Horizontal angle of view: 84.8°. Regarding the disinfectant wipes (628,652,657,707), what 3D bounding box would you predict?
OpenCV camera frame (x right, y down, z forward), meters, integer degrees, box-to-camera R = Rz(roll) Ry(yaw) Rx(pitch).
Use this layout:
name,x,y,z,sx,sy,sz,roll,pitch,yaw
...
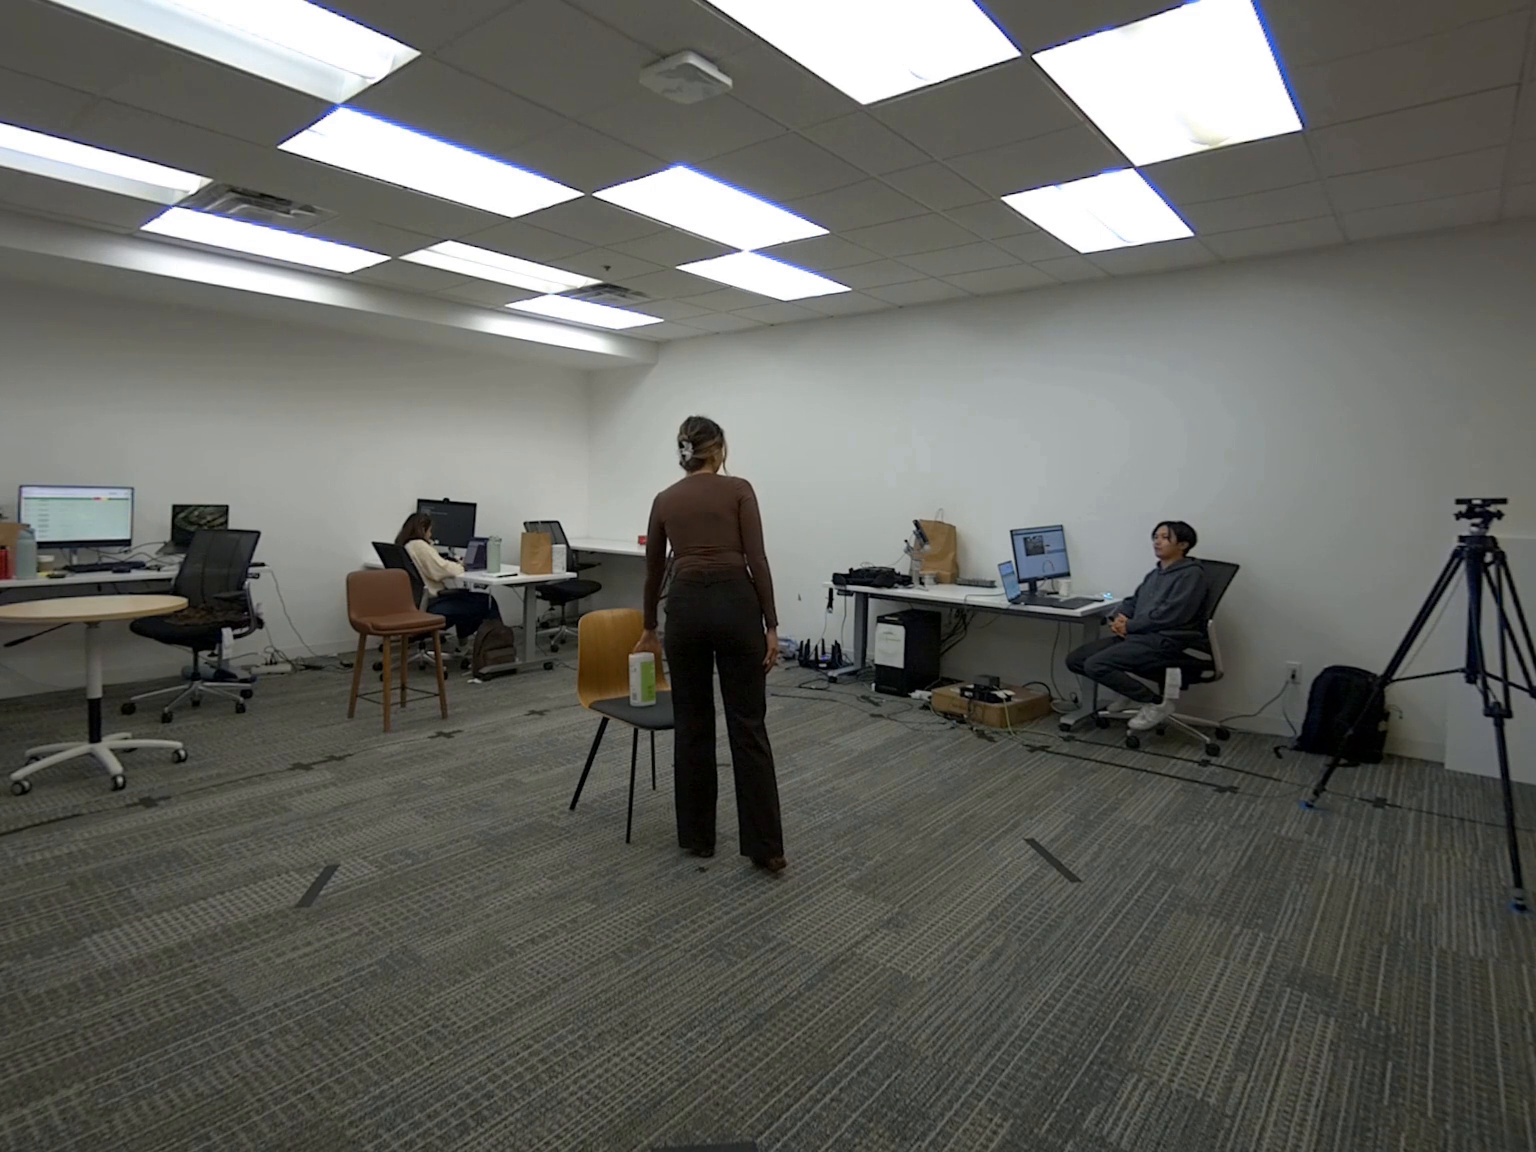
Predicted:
name,x,y,z,sx,sy,sz,roll,pitch,yaw
disinfectant wipes,-0.556,0.441,3.622,0.118,0.218,0.118,-3,-1,-2
